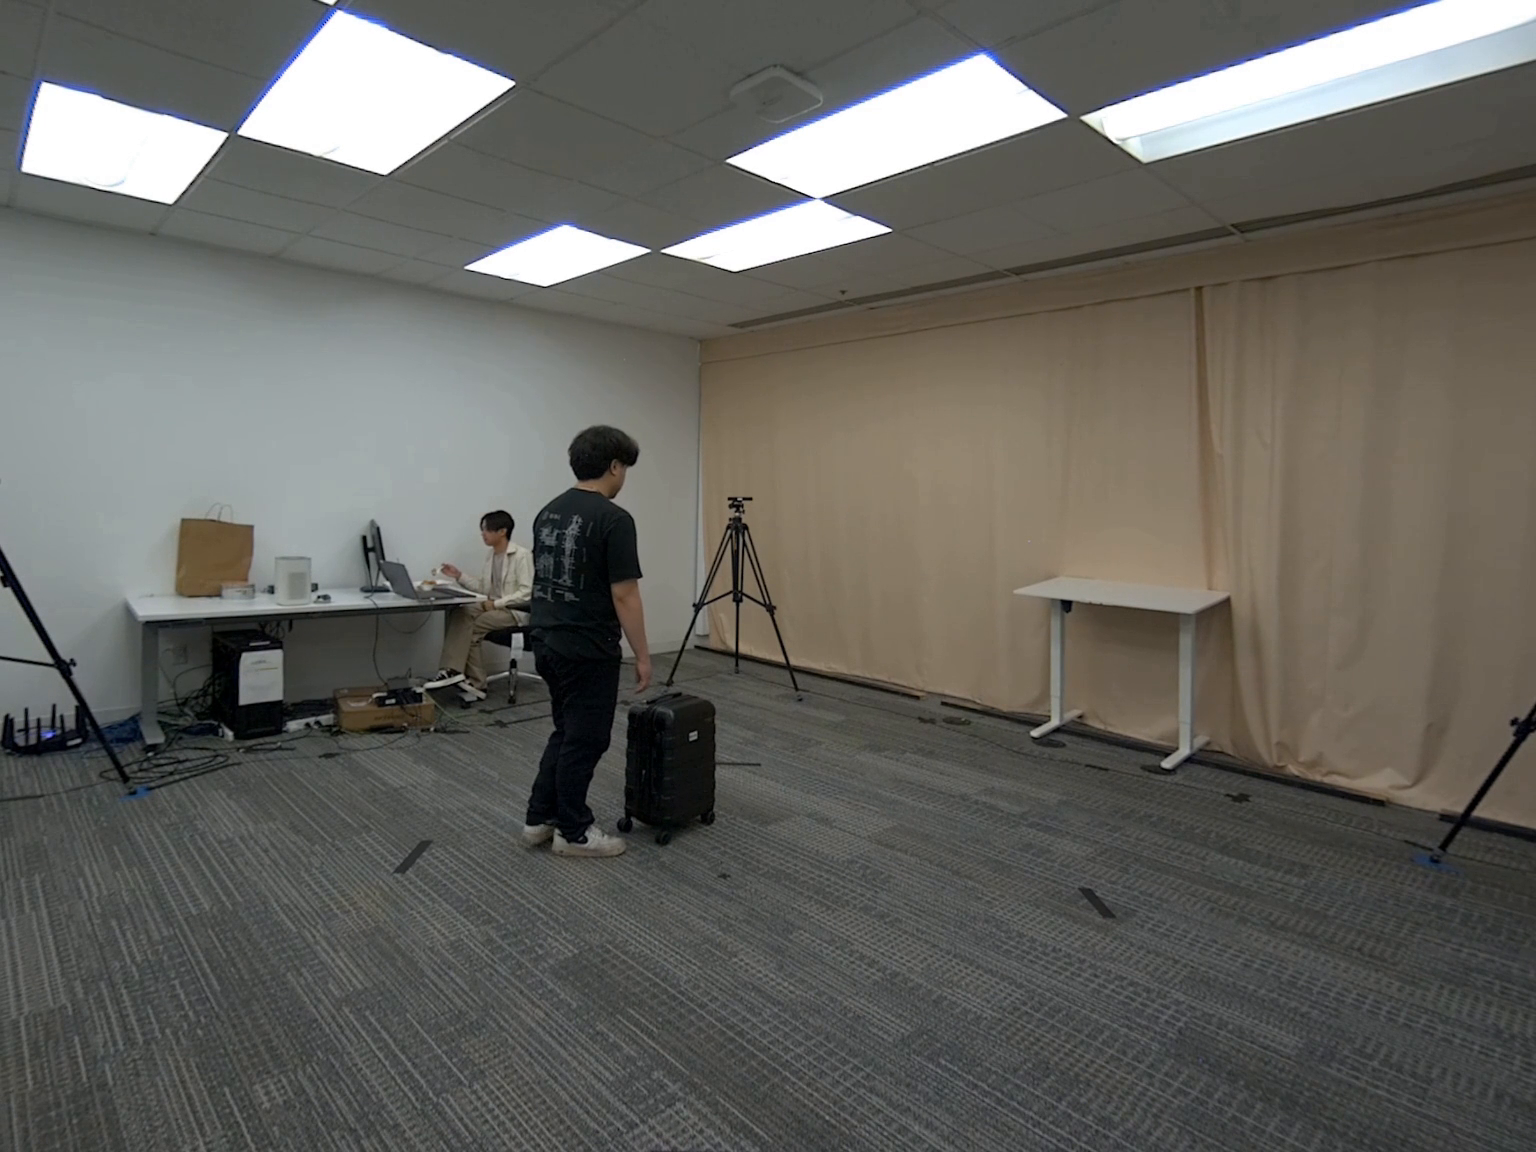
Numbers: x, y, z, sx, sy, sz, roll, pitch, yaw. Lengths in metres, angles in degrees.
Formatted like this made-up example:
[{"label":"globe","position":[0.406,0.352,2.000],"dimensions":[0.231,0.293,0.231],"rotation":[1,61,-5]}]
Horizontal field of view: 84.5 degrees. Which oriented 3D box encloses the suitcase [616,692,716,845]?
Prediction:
[{"label":"suitcase","position":[-0.417,0.788,3.567],"dimensions":[0.254,0.548,0.367],"rotation":[3,2,33]}]
